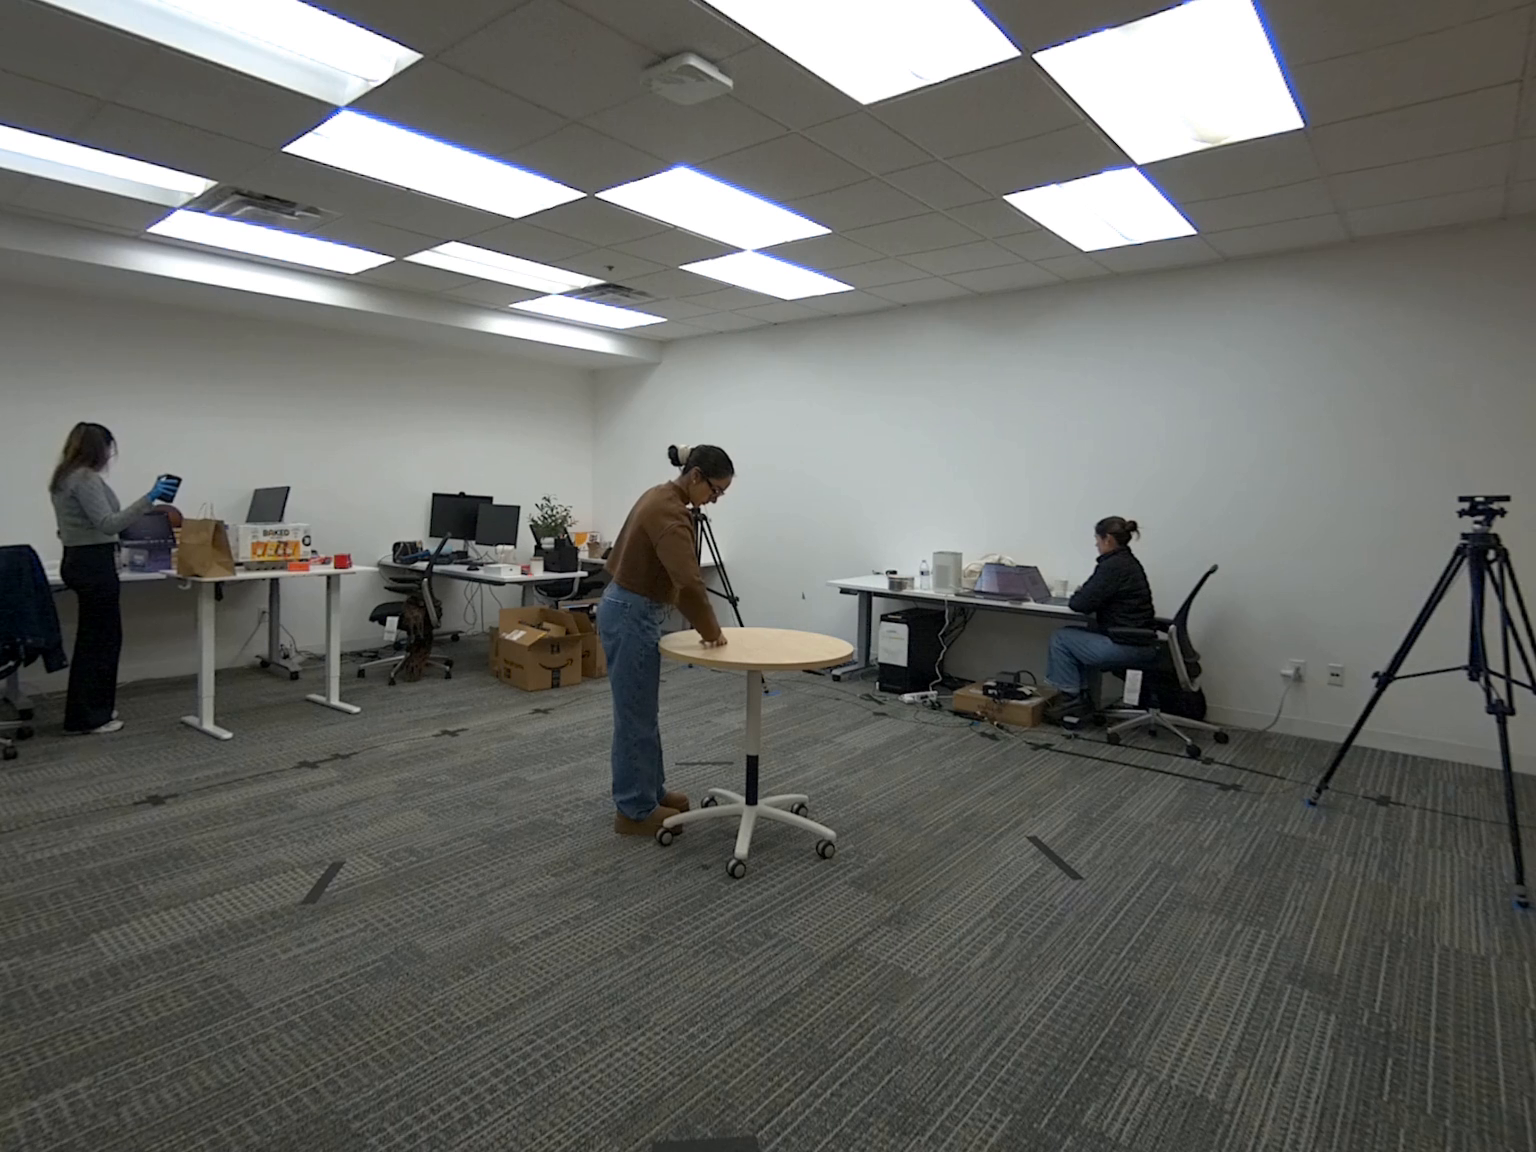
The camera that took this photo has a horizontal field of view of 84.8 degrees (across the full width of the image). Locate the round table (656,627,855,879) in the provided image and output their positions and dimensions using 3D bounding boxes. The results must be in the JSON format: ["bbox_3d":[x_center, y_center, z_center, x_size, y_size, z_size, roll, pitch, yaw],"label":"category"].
[{"bbox_3d":[-0.067,0.657,3.364,0.763,0.791,0.768,1,4,-2],"label":"round table"}]
